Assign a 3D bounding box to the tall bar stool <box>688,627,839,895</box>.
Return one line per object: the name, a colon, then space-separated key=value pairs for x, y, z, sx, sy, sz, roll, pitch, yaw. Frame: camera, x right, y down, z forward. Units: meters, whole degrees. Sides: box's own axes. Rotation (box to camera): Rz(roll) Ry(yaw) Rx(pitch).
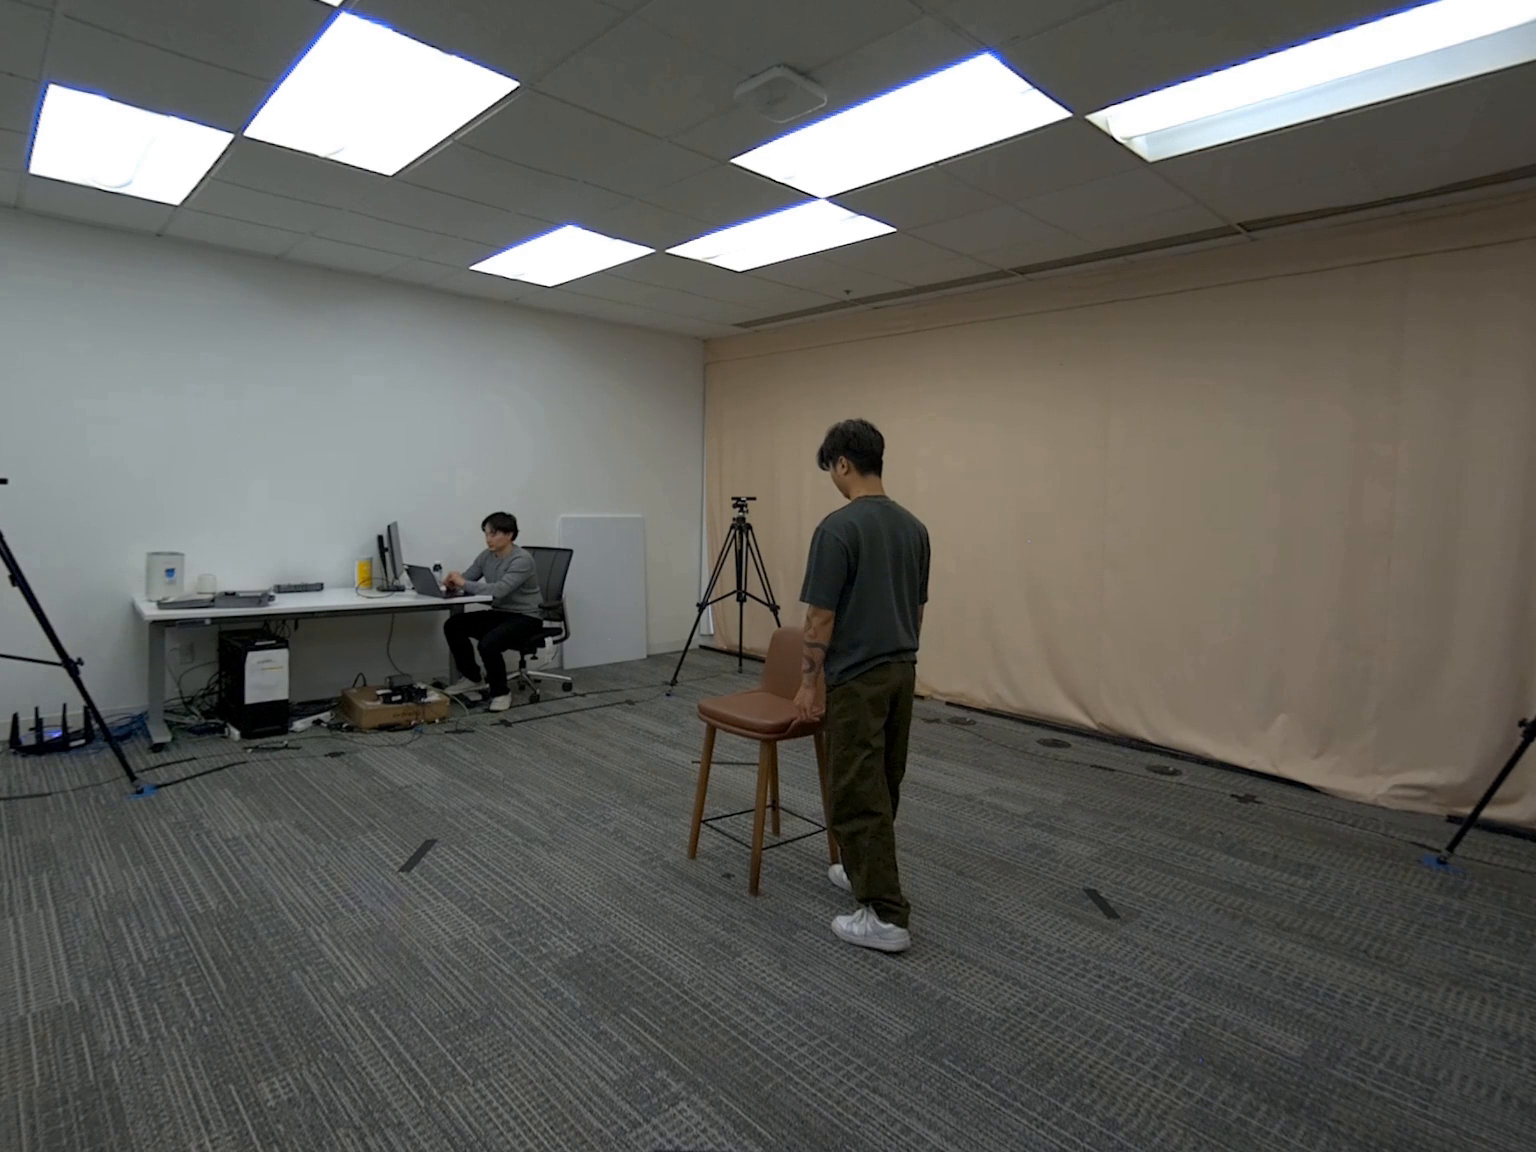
tall bar stool: x=-0.009 y=0.665 z=3.222 sx=0.456 sy=0.888 sz=0.468 roll=1 pitch=2 yaw=-39
